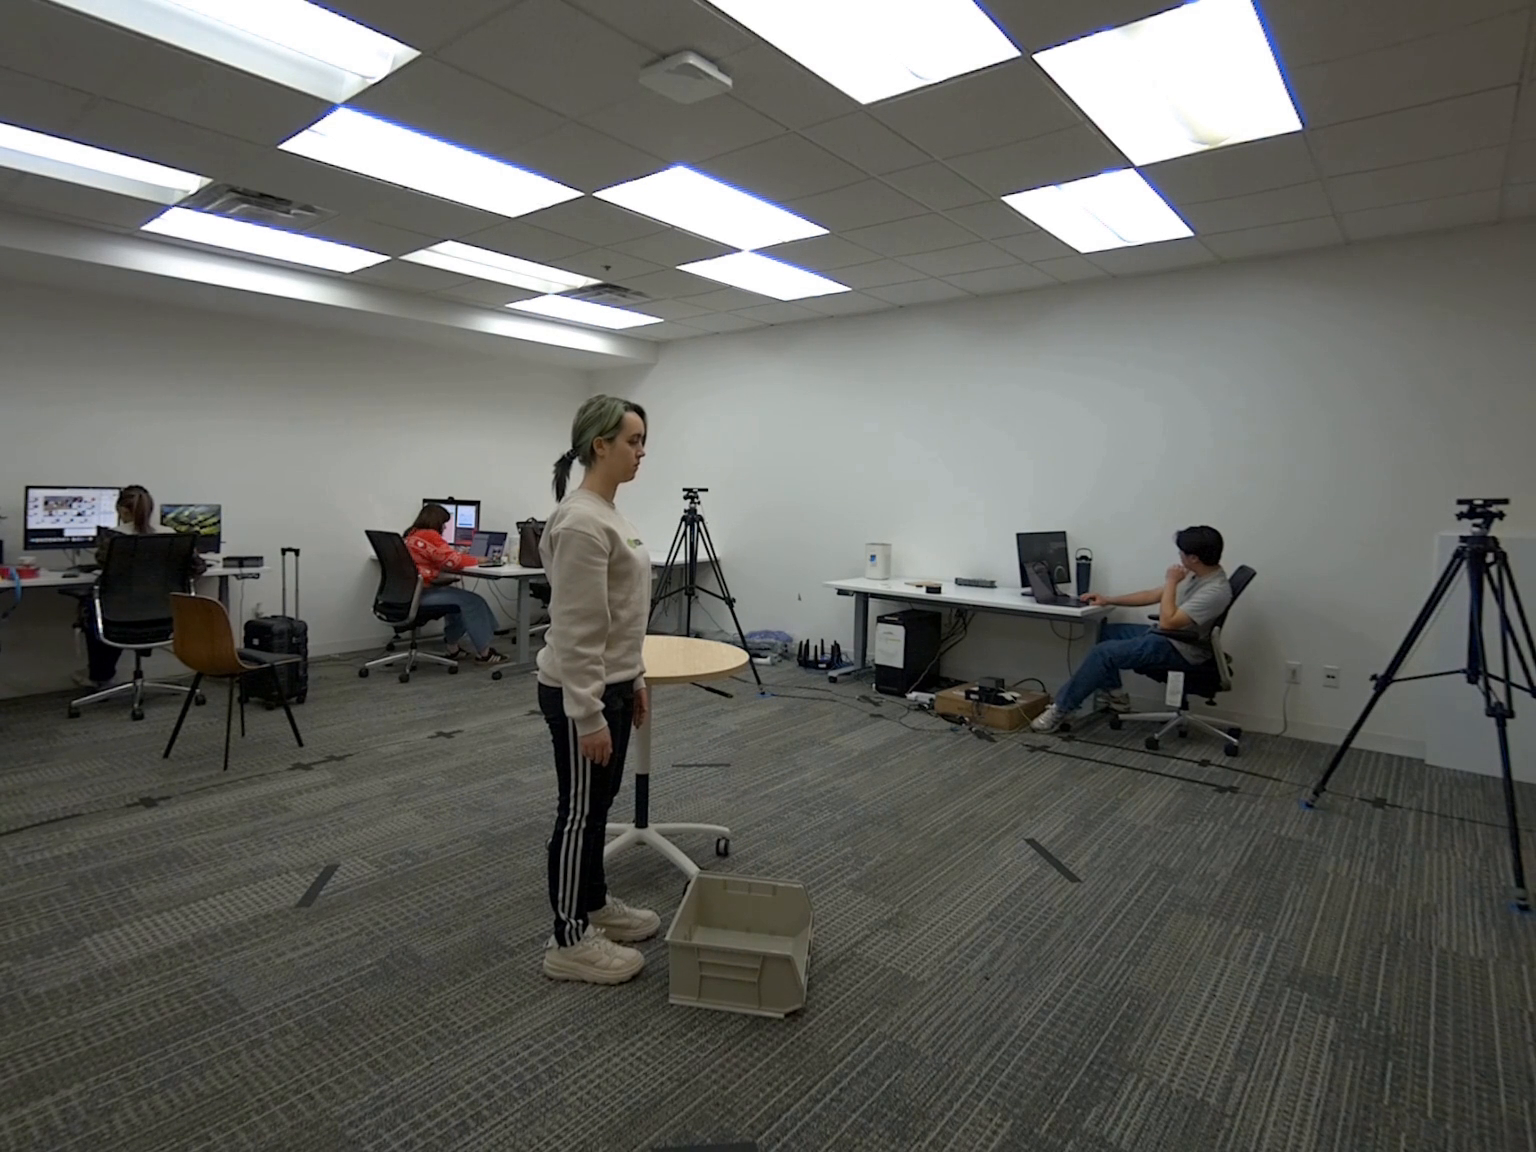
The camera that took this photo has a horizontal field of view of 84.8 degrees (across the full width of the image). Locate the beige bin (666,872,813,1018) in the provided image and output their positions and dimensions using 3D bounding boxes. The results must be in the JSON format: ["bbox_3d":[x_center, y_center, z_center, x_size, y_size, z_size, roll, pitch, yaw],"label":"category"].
[{"bbox_3d":[-0.070,1.052,2.451,0.381,0.188,0.420,1,6,8],"label":"beige bin"}]
